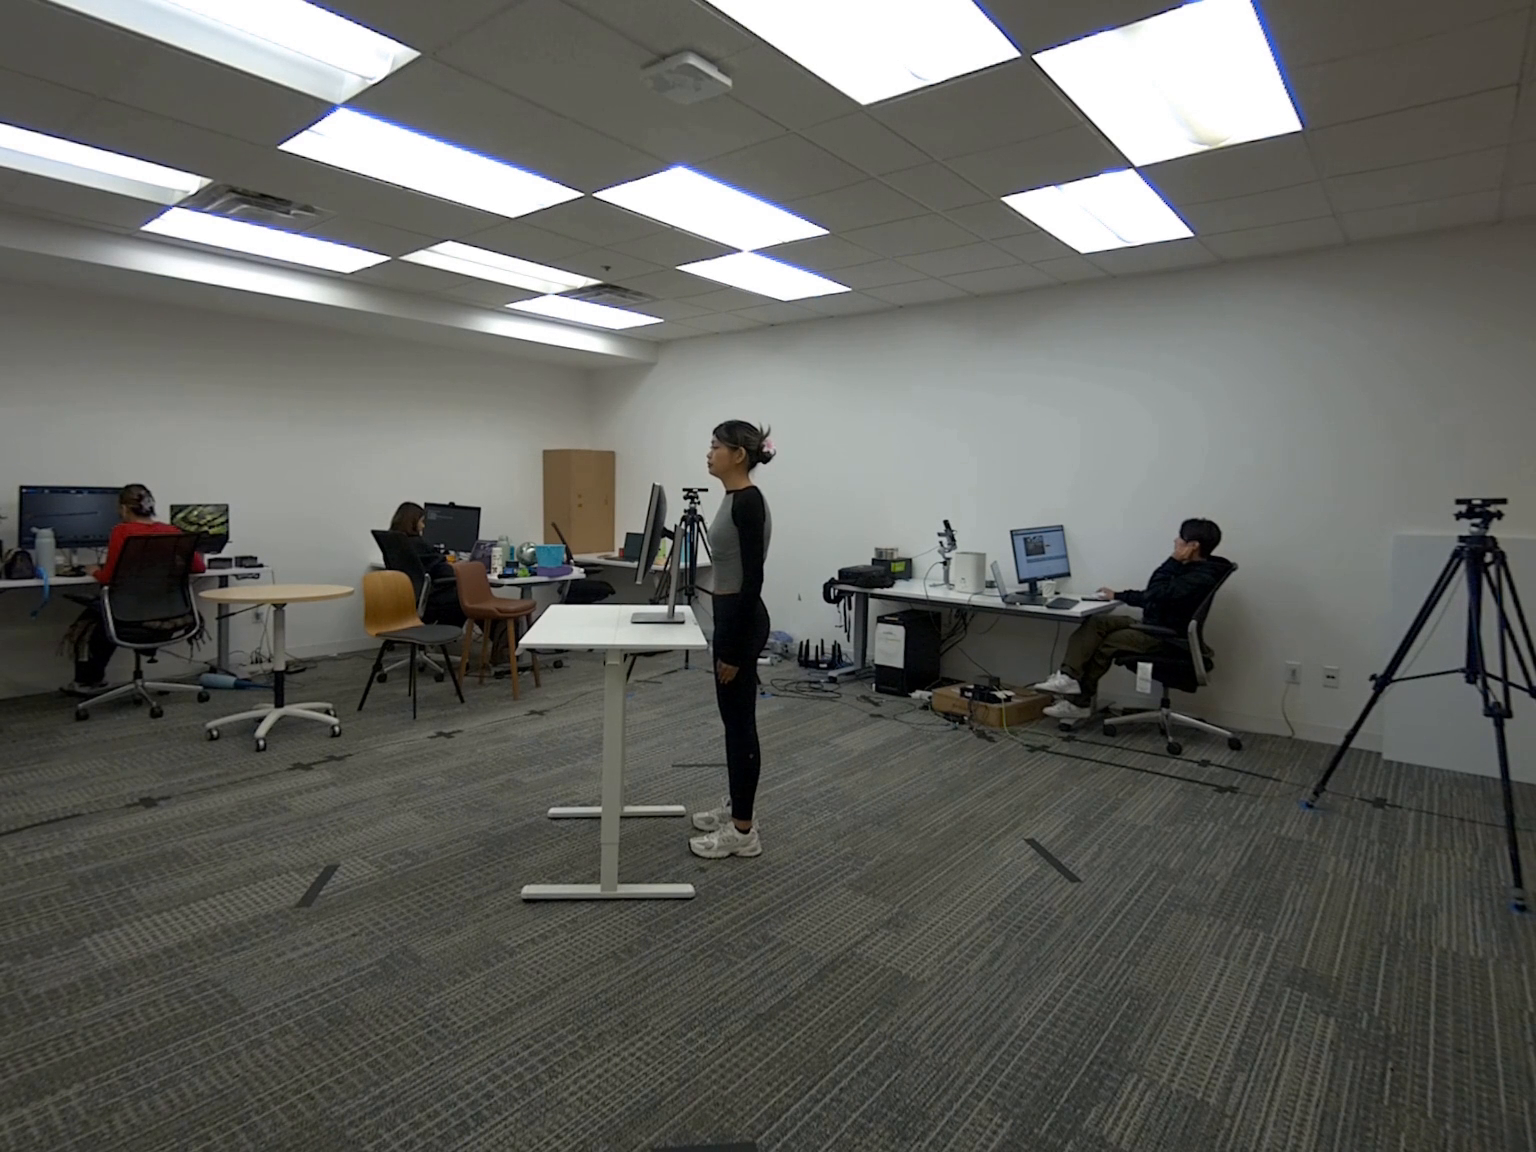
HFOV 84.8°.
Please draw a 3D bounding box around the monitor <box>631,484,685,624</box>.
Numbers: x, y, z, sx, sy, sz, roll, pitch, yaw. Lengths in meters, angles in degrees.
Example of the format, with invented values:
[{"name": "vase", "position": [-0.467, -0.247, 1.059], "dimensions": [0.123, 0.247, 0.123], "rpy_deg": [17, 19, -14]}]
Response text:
[{"name": "monitor", "position": [-0.430, -0.087, 3.282], "dimensions": [0.186, 0.521, 0.544], "rpy_deg": [-1, 3, -7]}]
